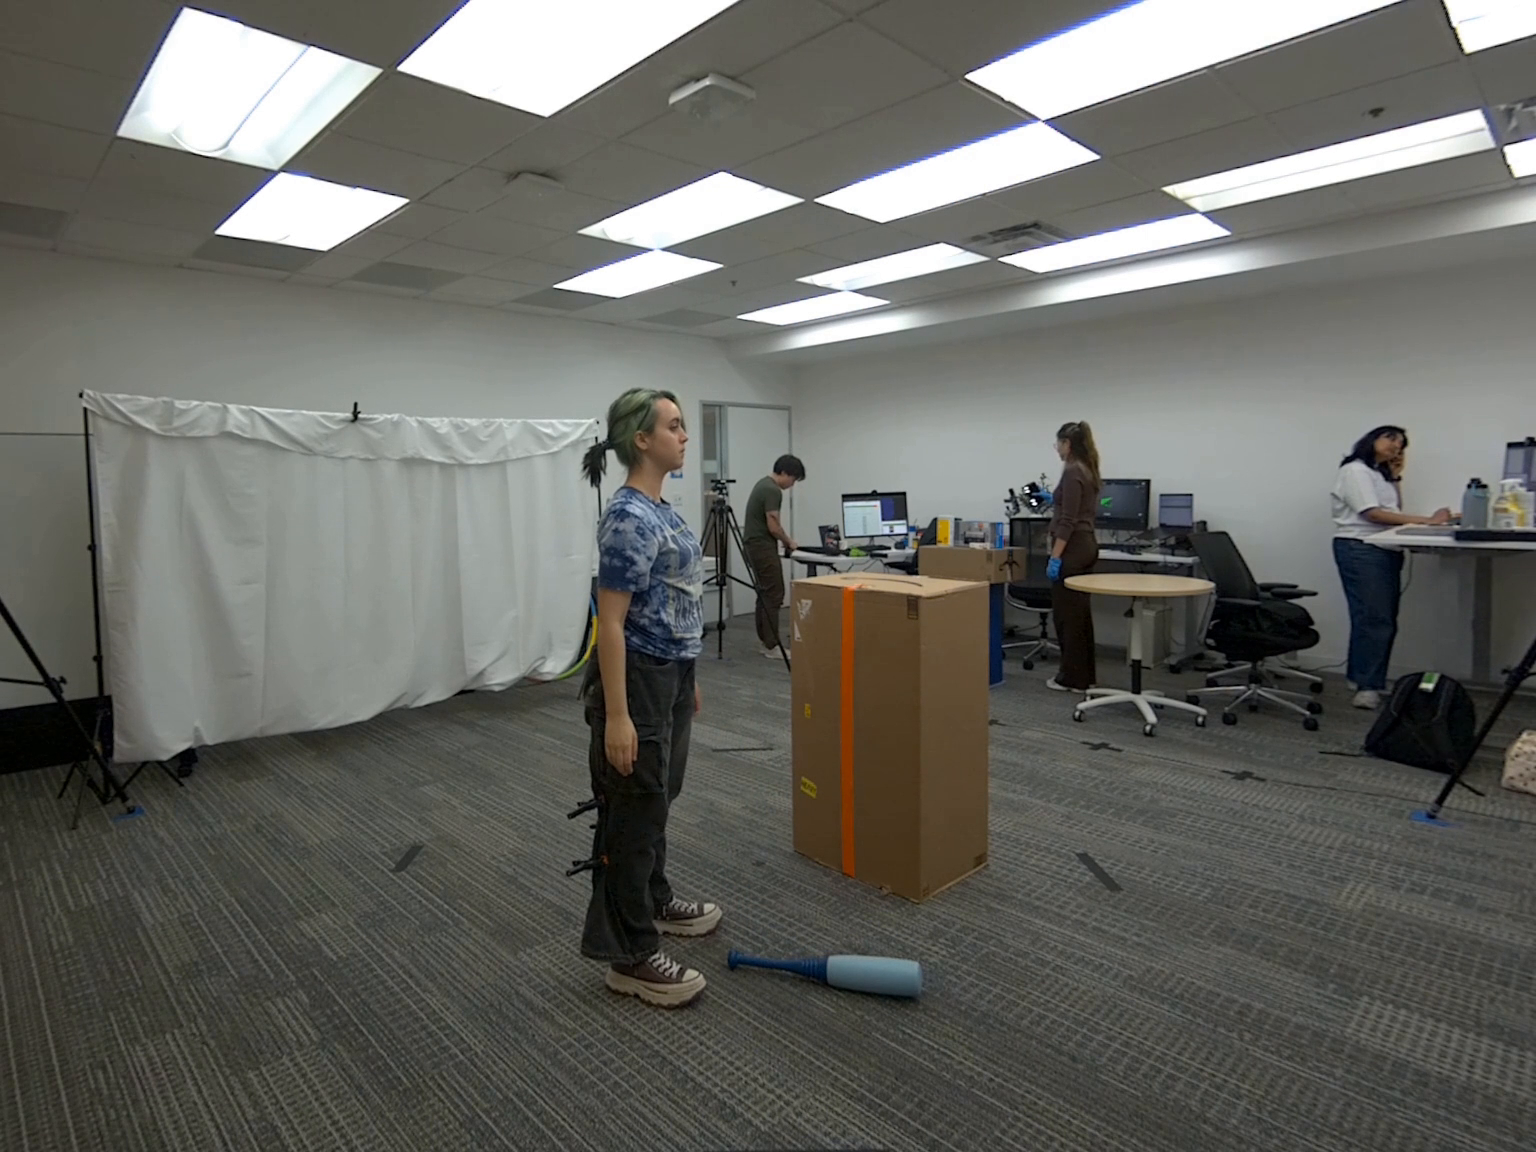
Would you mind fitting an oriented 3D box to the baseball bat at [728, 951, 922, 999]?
[{"bbox_3d":[0.163,1.102,2.366,0.552,0.089,0.088,-3,4,18],"label":"baseball bat"}]
